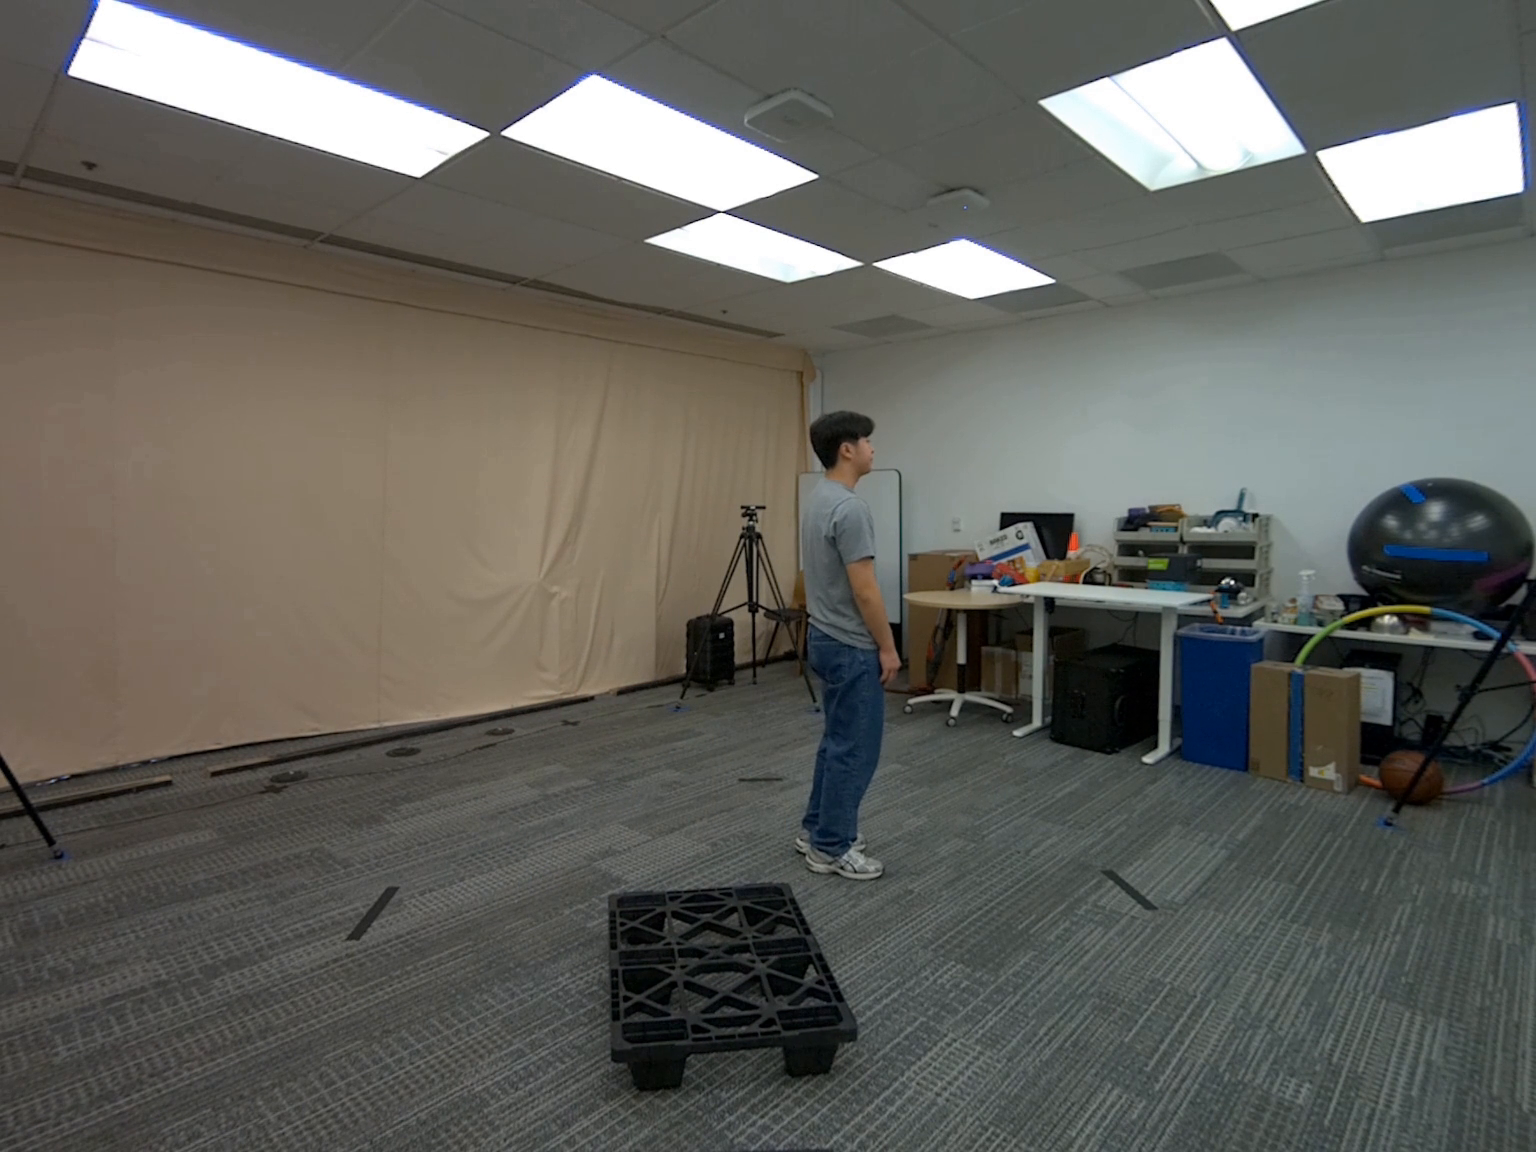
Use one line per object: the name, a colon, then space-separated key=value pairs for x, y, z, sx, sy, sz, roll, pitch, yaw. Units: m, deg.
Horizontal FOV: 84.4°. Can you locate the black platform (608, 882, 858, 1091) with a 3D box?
black platform: x=-0.142 y=1.128 z=2.389 sx=0.599 sy=0.143 sz=0.816 roll=-1 pitch=5 yaw=-10
